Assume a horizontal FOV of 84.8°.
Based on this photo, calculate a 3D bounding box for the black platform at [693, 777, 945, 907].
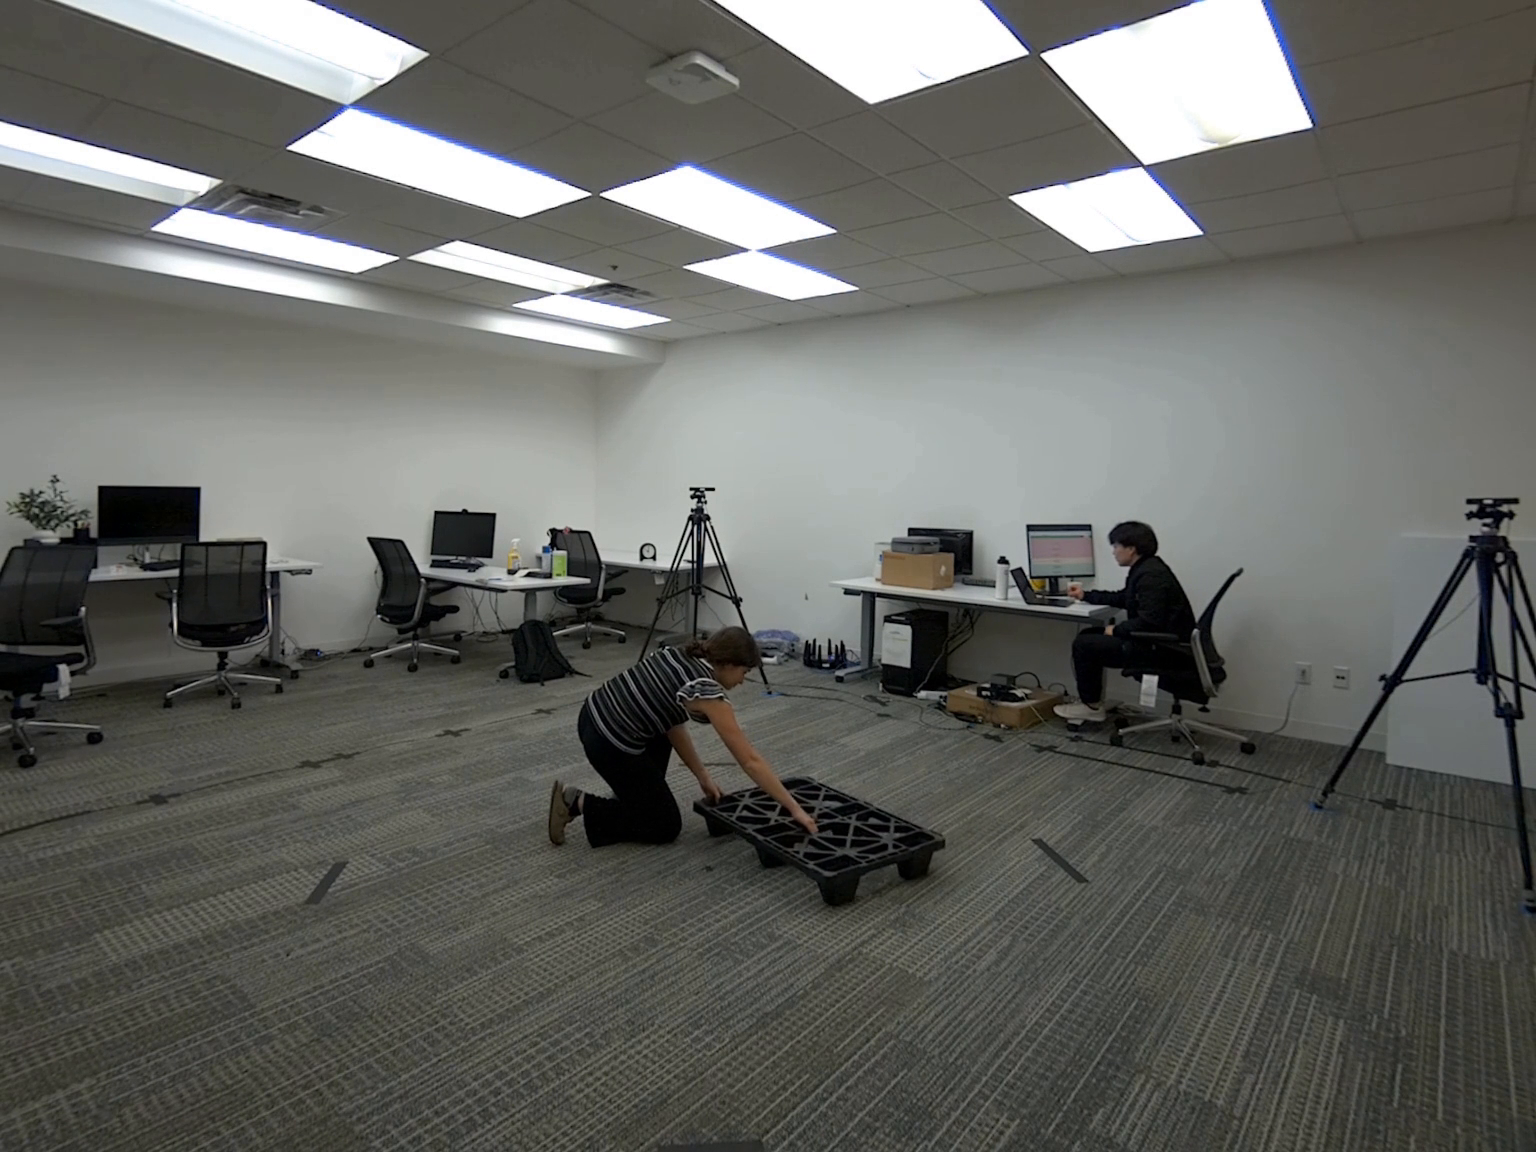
[{"bbox_3d":[0.163,0.993,3.259,0.587,0.143,0.833,-3,7,-37],"label":"black platform"}]
